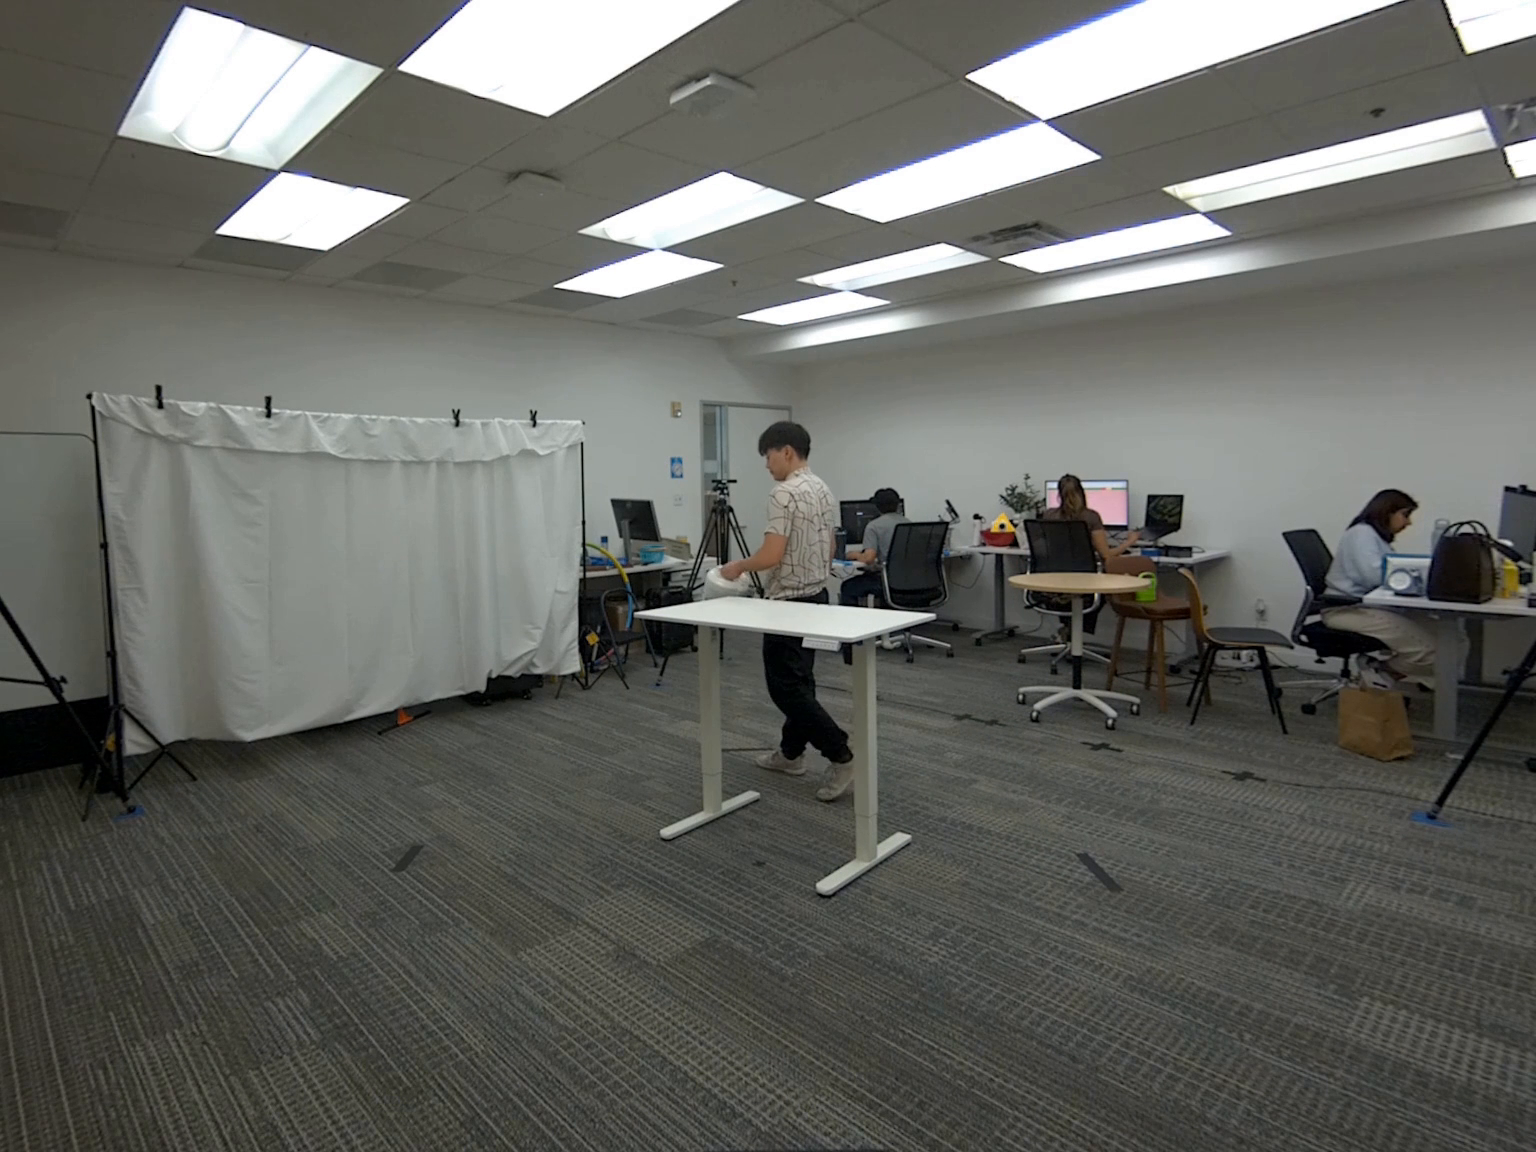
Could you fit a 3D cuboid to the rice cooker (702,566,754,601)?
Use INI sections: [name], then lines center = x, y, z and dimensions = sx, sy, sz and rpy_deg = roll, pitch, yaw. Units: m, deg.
[rice cooker]
center = -0.187, 0.072, 4.021
dimensions = 0.229, 0.229, 0.213
rpy_deg = 31, 30, 36
